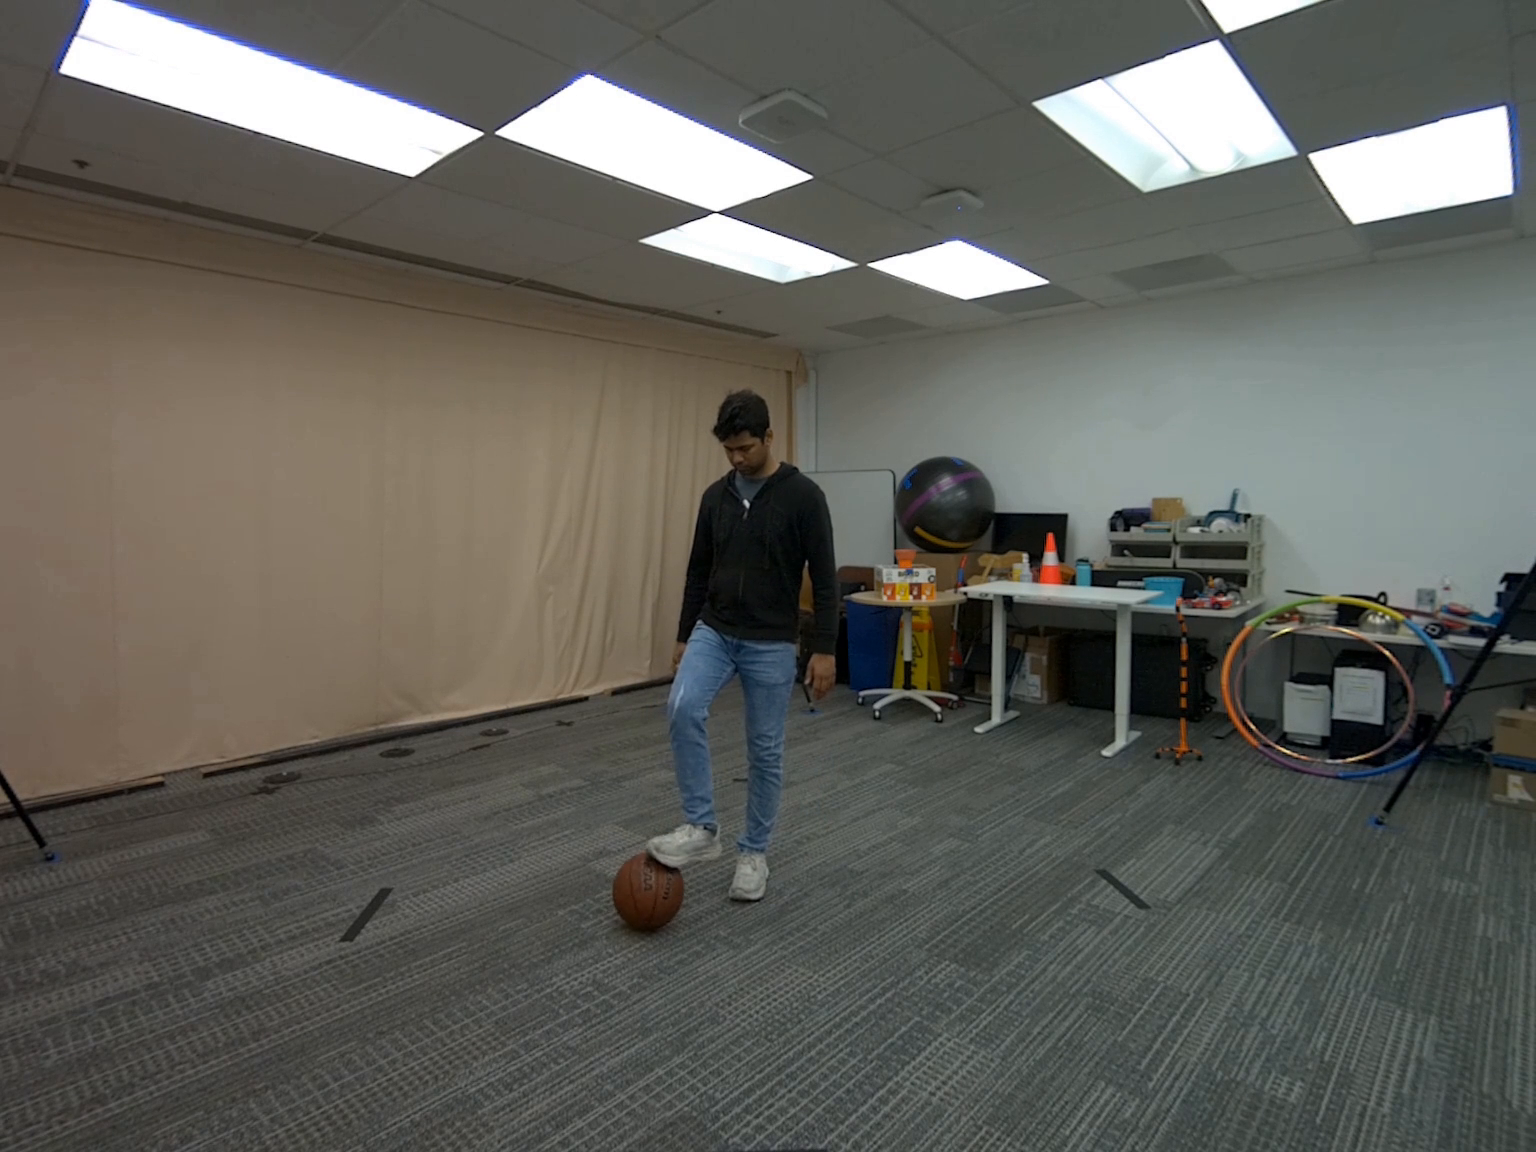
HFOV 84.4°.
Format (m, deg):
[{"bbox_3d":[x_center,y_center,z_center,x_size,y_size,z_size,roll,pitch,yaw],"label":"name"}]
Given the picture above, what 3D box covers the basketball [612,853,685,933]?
[{"bbox_3d":[-0.402,1.043,2.790,0.236,0.235,0.237,0,4,-2],"label":"basketball"}]
